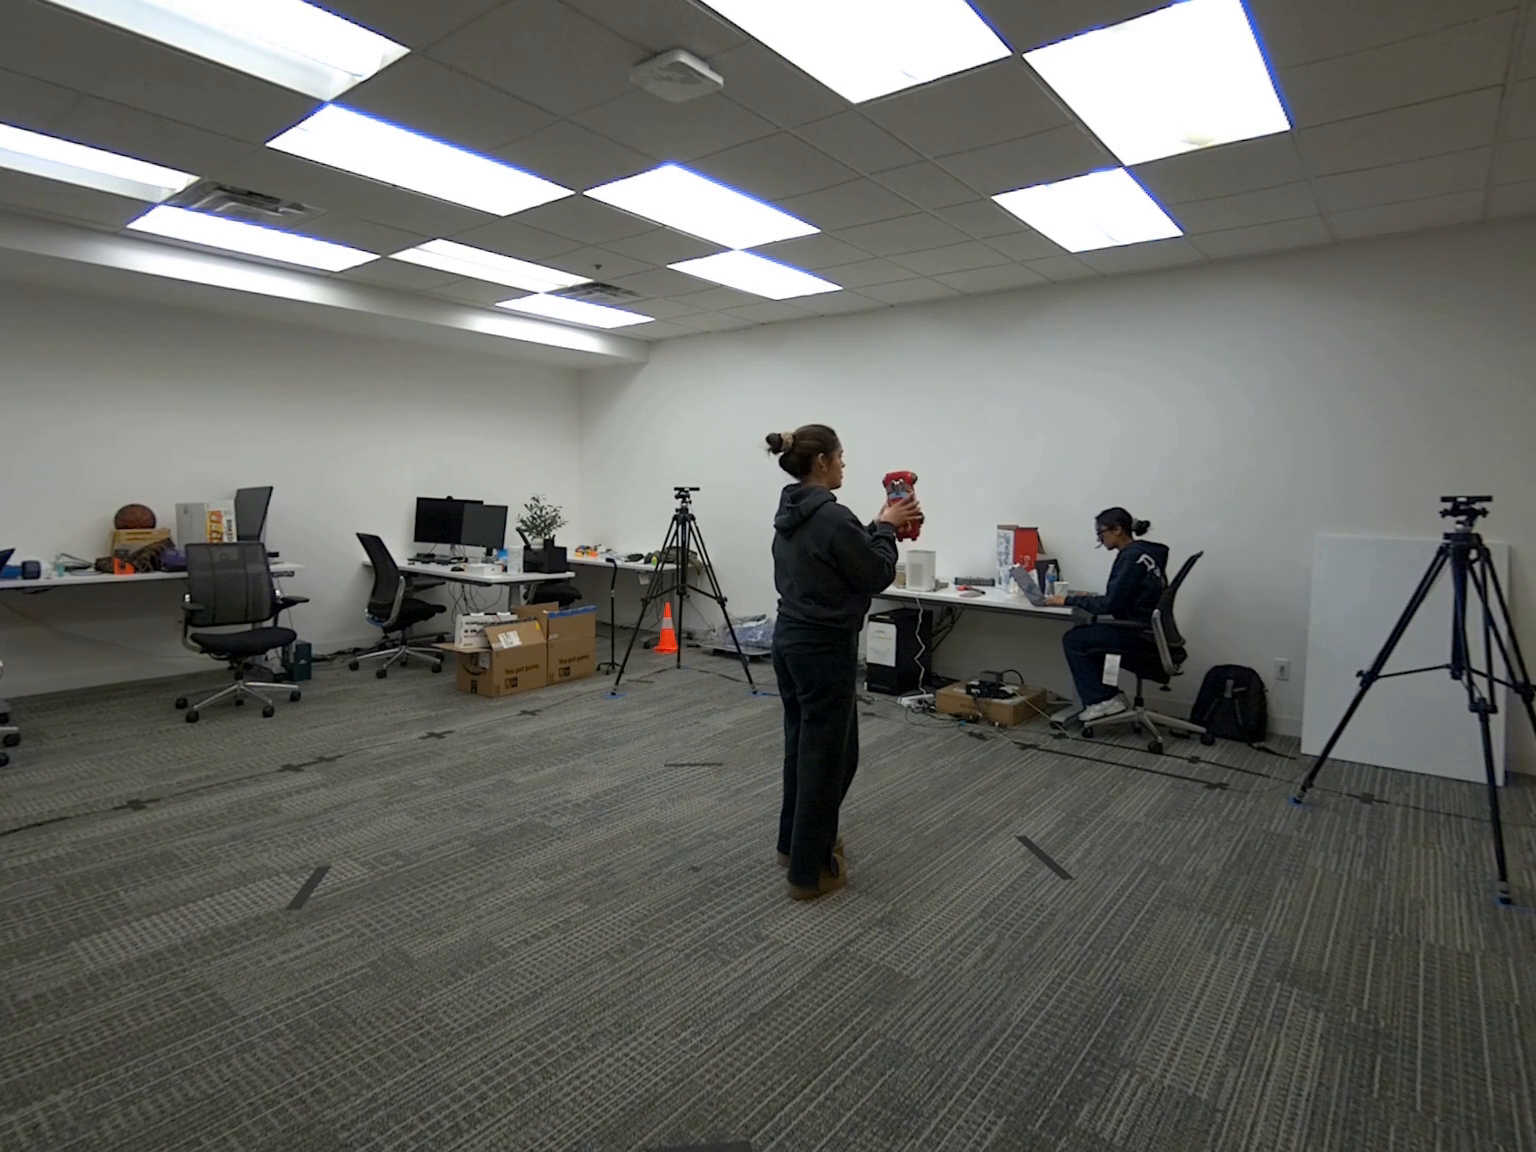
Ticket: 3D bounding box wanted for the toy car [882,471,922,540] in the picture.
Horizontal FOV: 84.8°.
[{"bbox_3d":[0.483,-0.252,3.055,0.133,0.254,0.081,-6,2,29],"label":"toy car"}]
